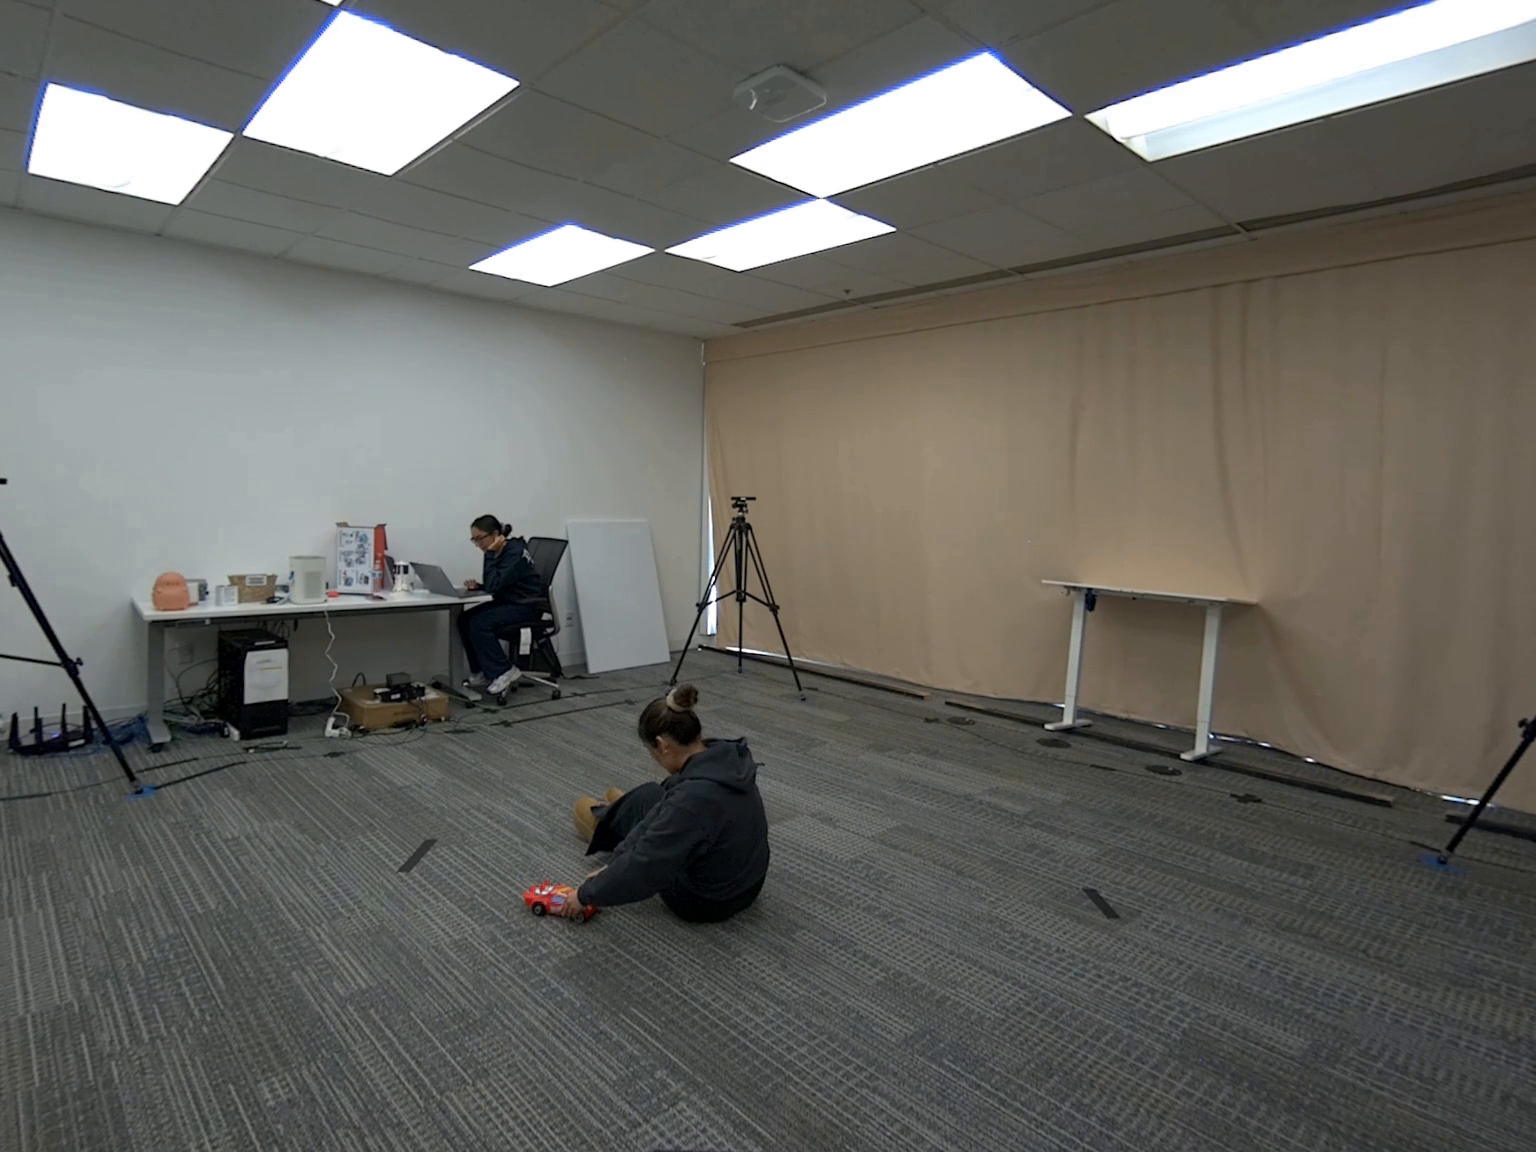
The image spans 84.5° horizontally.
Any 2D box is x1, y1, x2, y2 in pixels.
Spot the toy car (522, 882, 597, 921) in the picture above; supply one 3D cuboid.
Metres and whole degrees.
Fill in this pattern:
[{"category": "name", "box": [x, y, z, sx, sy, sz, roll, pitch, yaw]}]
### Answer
[{"category": "toy car", "box": [-0.697, 1.077, 2.833, 0.258, 0.083, 0.129, 14, 7, 12]}]
